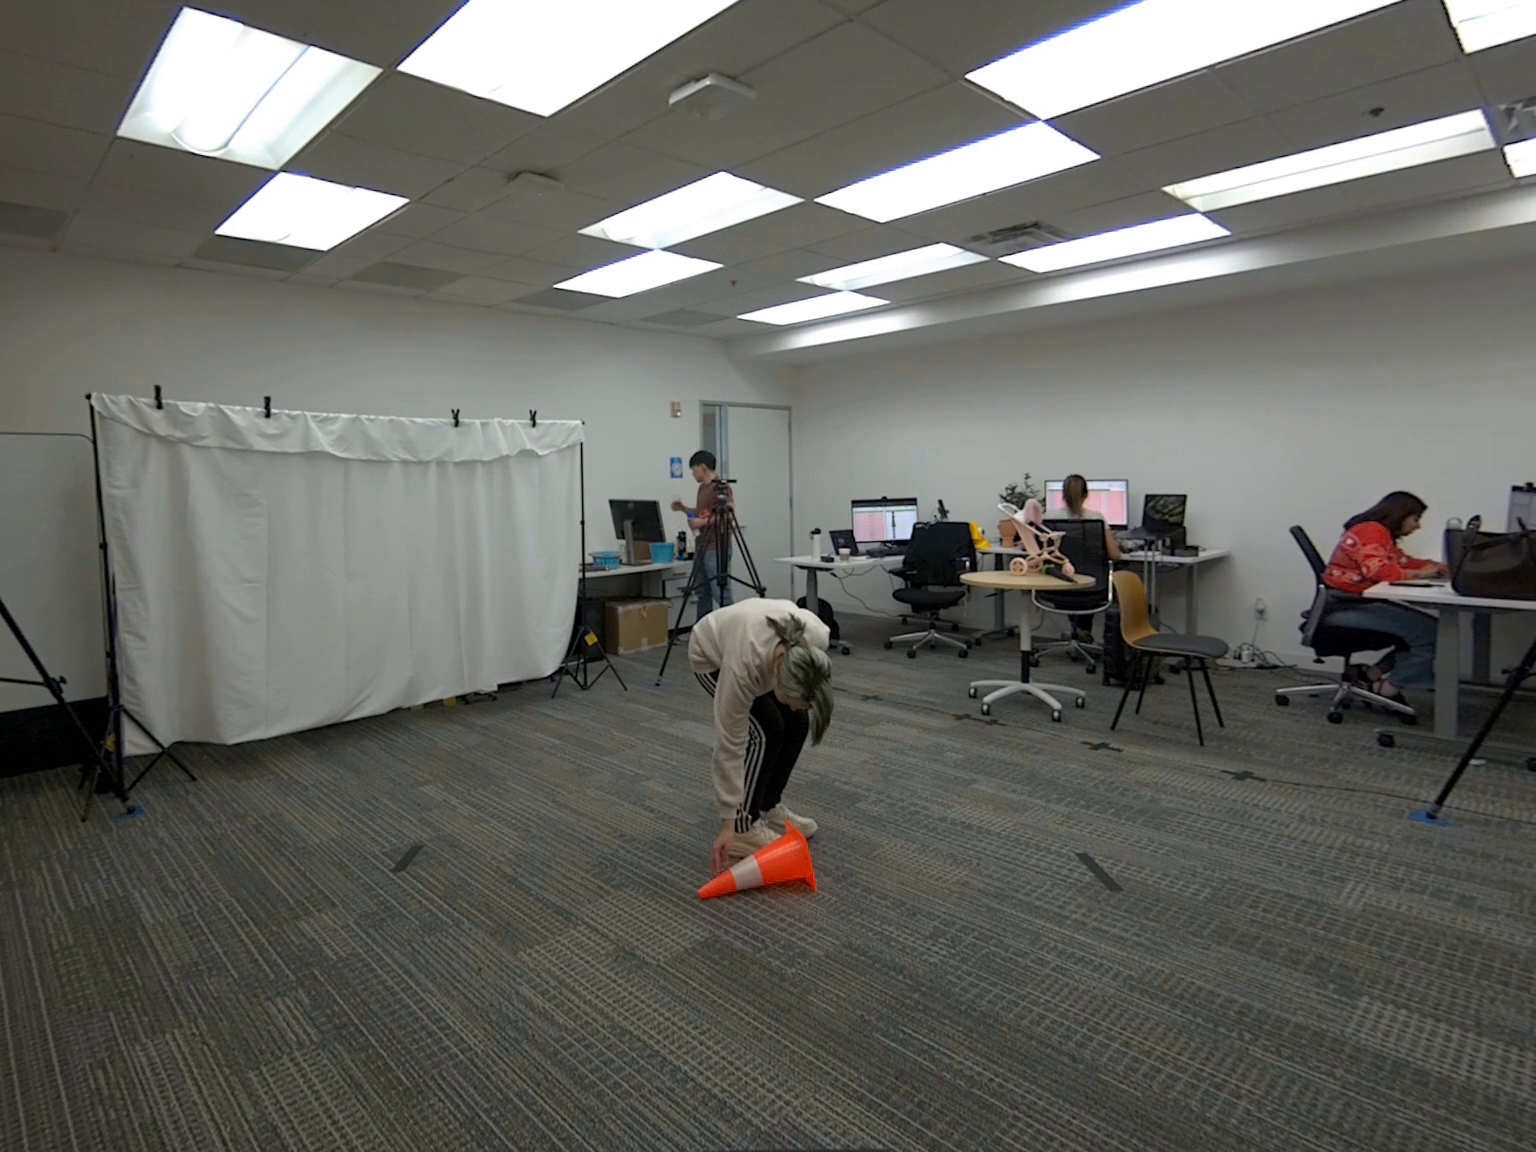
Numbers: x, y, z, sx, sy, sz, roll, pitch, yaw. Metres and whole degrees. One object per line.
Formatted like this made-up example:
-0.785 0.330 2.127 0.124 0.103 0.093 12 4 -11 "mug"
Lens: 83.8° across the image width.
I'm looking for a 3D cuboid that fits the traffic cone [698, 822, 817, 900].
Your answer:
-0.061 1.017 2.916 0.379 0.203 0.208 -16 10 -17 "traffic cone"
